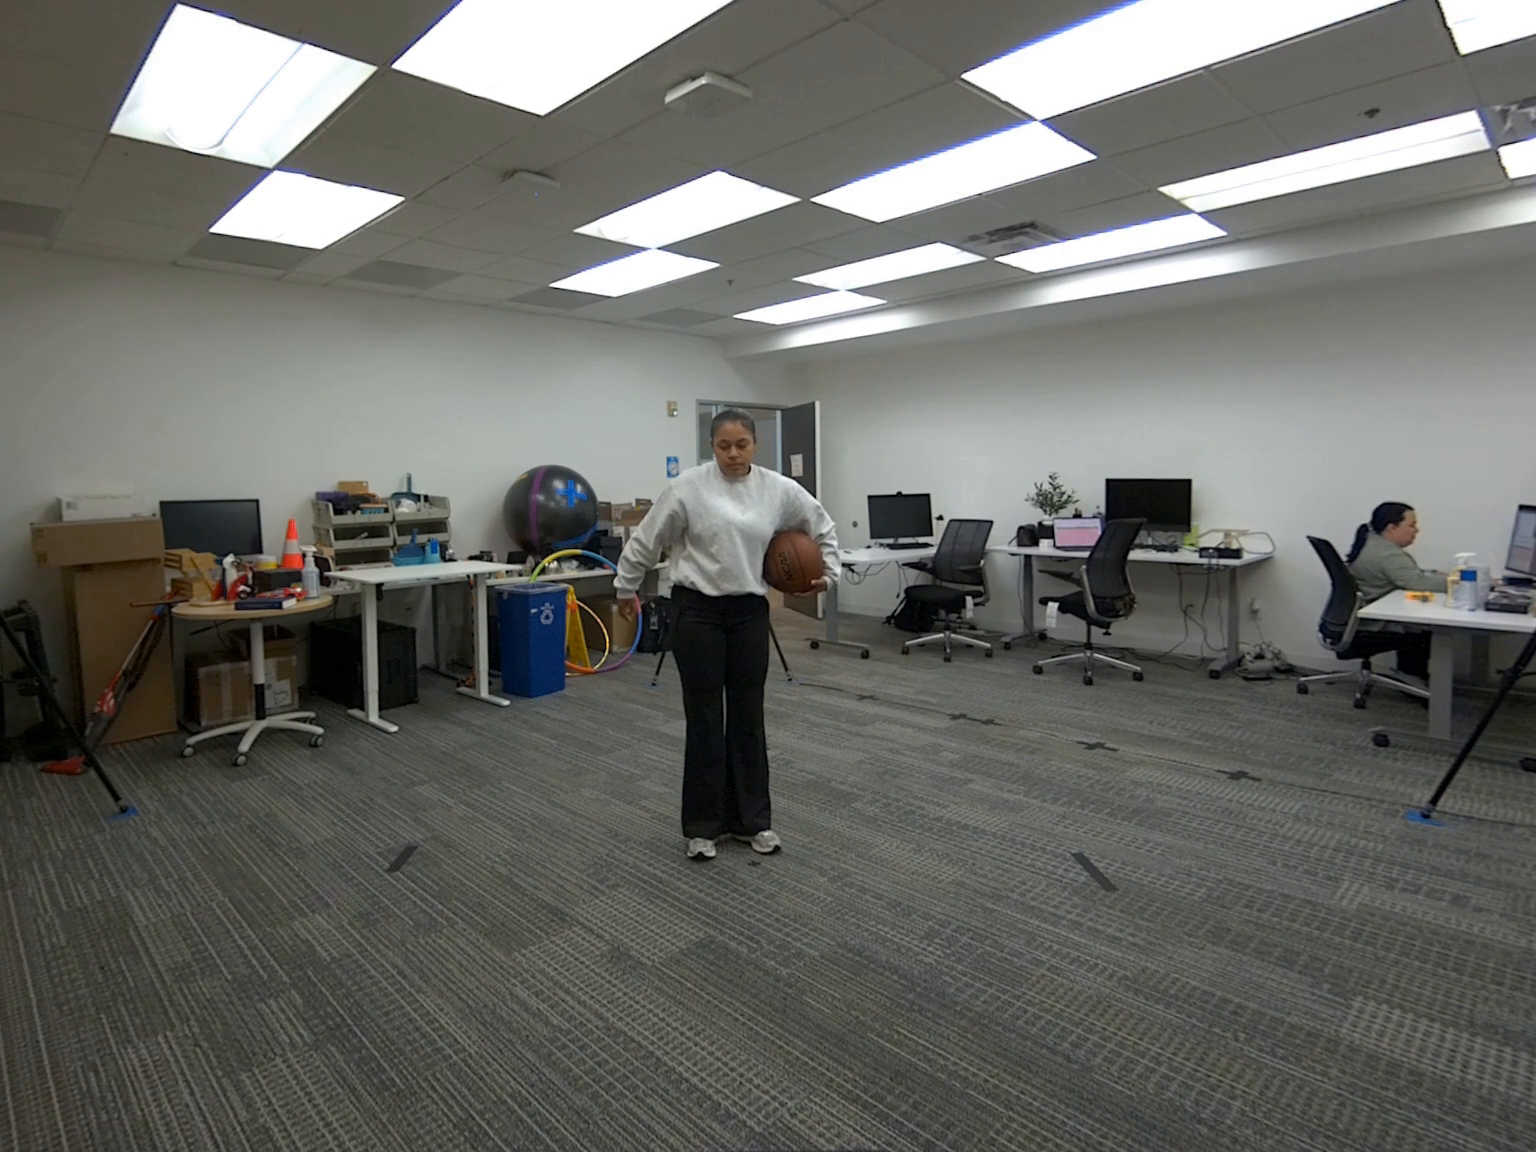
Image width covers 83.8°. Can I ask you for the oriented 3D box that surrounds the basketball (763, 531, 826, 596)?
[{"bbox_3d":[0.087,-0.050,3.256,0.236,0.235,0.237,-1,5,-2],"label":"basketball"}]
